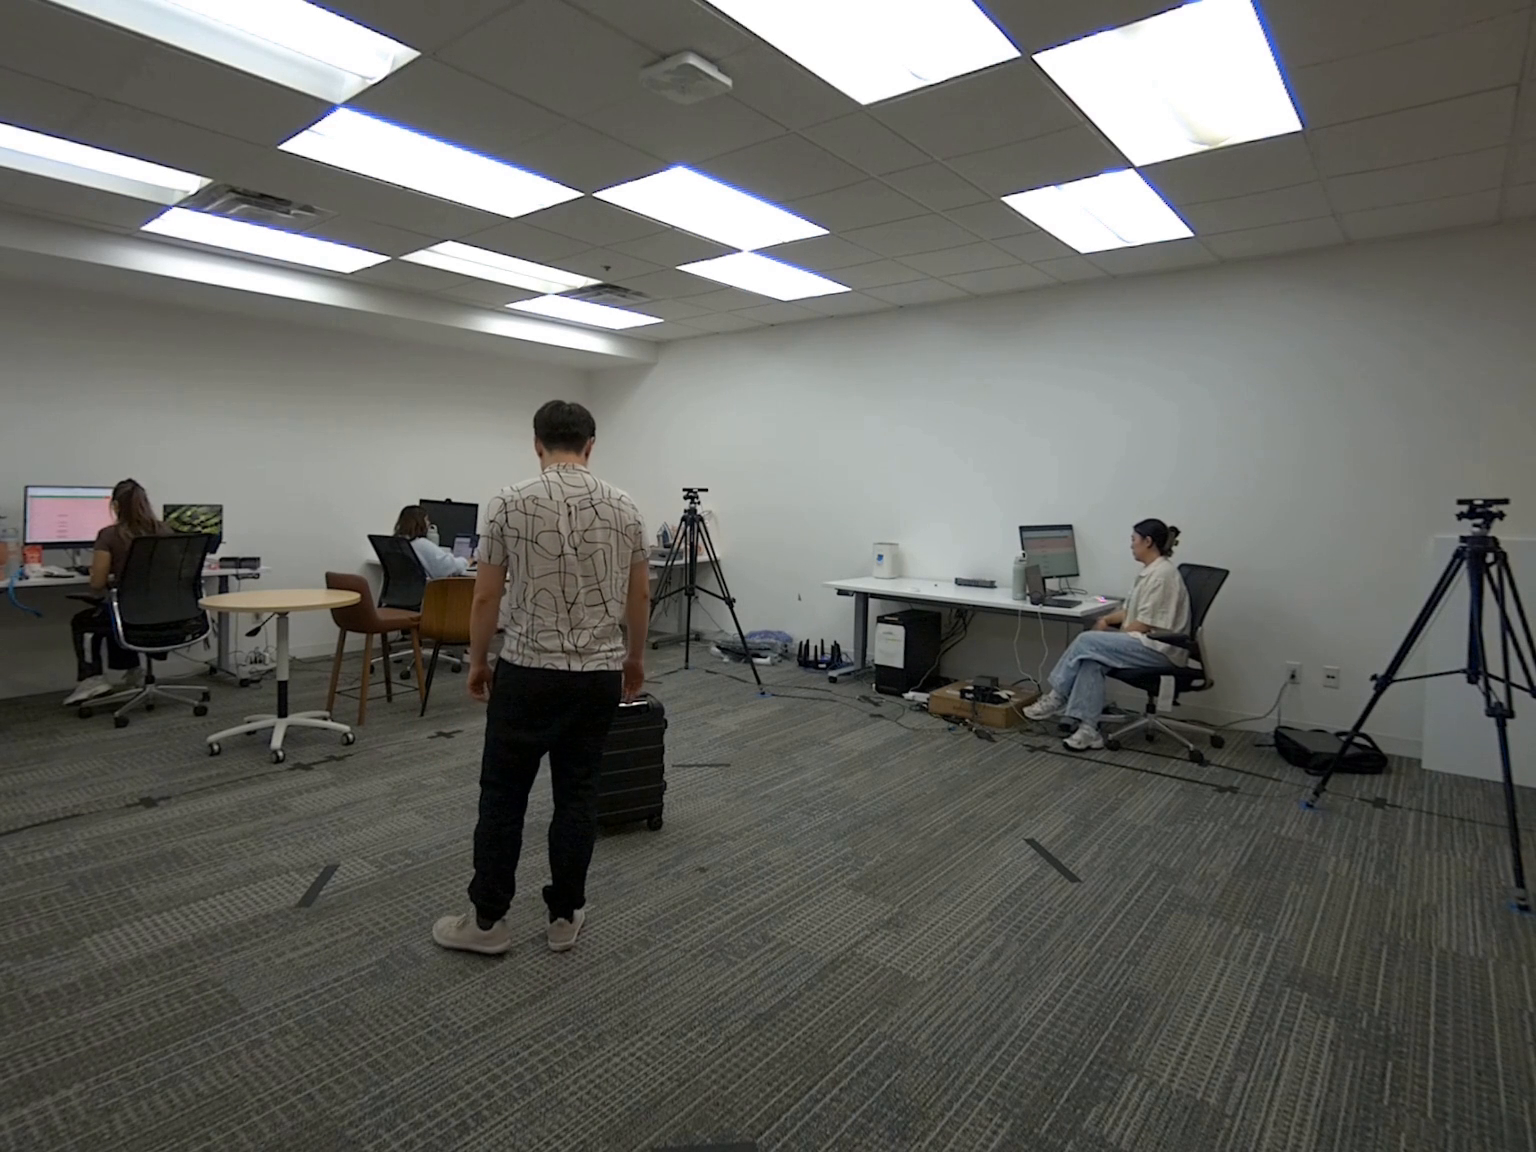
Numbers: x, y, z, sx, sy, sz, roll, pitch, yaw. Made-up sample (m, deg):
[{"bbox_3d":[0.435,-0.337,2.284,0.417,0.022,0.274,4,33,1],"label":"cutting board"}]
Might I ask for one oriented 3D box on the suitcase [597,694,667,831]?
[{"bbox_3d":[-0.633,0.750,3.495,0.365,0.548,0.256,-1,3,-30],"label":"suitcase"}]
